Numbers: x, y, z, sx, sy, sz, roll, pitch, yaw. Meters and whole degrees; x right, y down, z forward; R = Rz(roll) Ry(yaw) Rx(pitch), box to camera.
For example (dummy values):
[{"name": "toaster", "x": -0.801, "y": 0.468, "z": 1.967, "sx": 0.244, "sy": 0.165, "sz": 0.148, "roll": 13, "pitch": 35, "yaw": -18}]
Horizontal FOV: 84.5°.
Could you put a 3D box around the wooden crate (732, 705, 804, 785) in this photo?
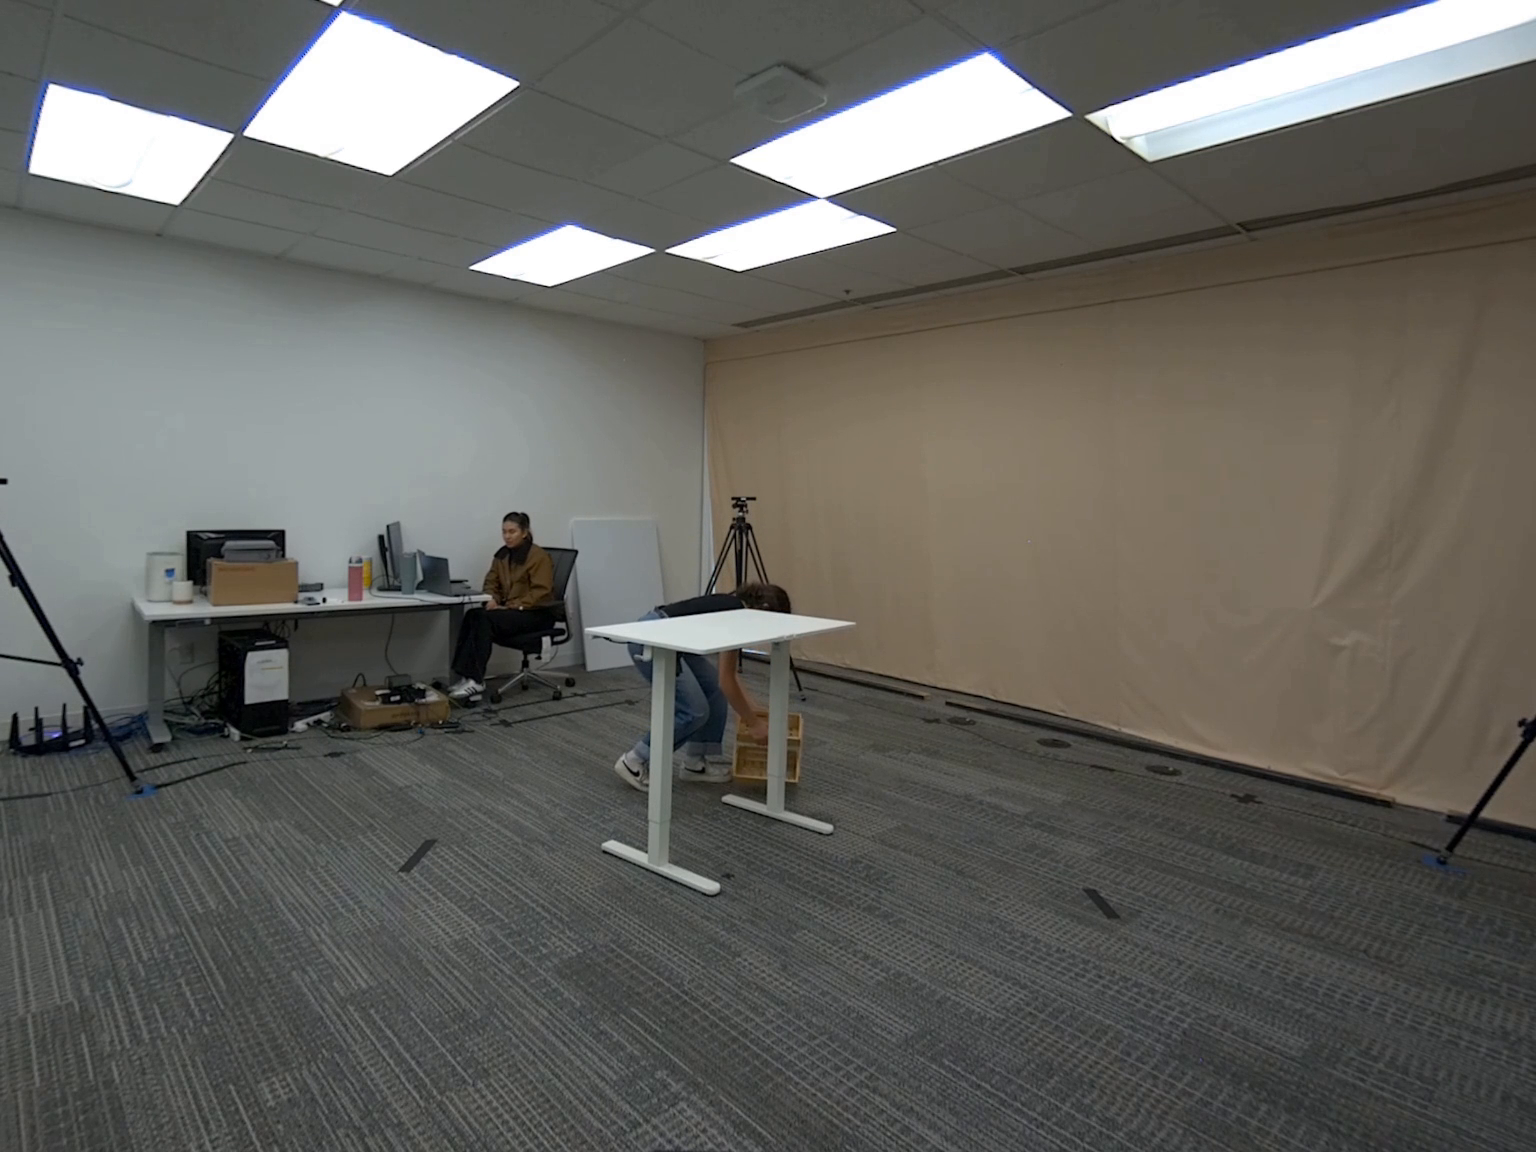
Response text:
[{"name": "wooden crate", "x": -0.013, "y": 0.815, "z": 4.001, "sx": 0.325, "sy": 0.271, "sz": 0.303, "roll": 5, "pitch": 9, "yaw": 2}]
